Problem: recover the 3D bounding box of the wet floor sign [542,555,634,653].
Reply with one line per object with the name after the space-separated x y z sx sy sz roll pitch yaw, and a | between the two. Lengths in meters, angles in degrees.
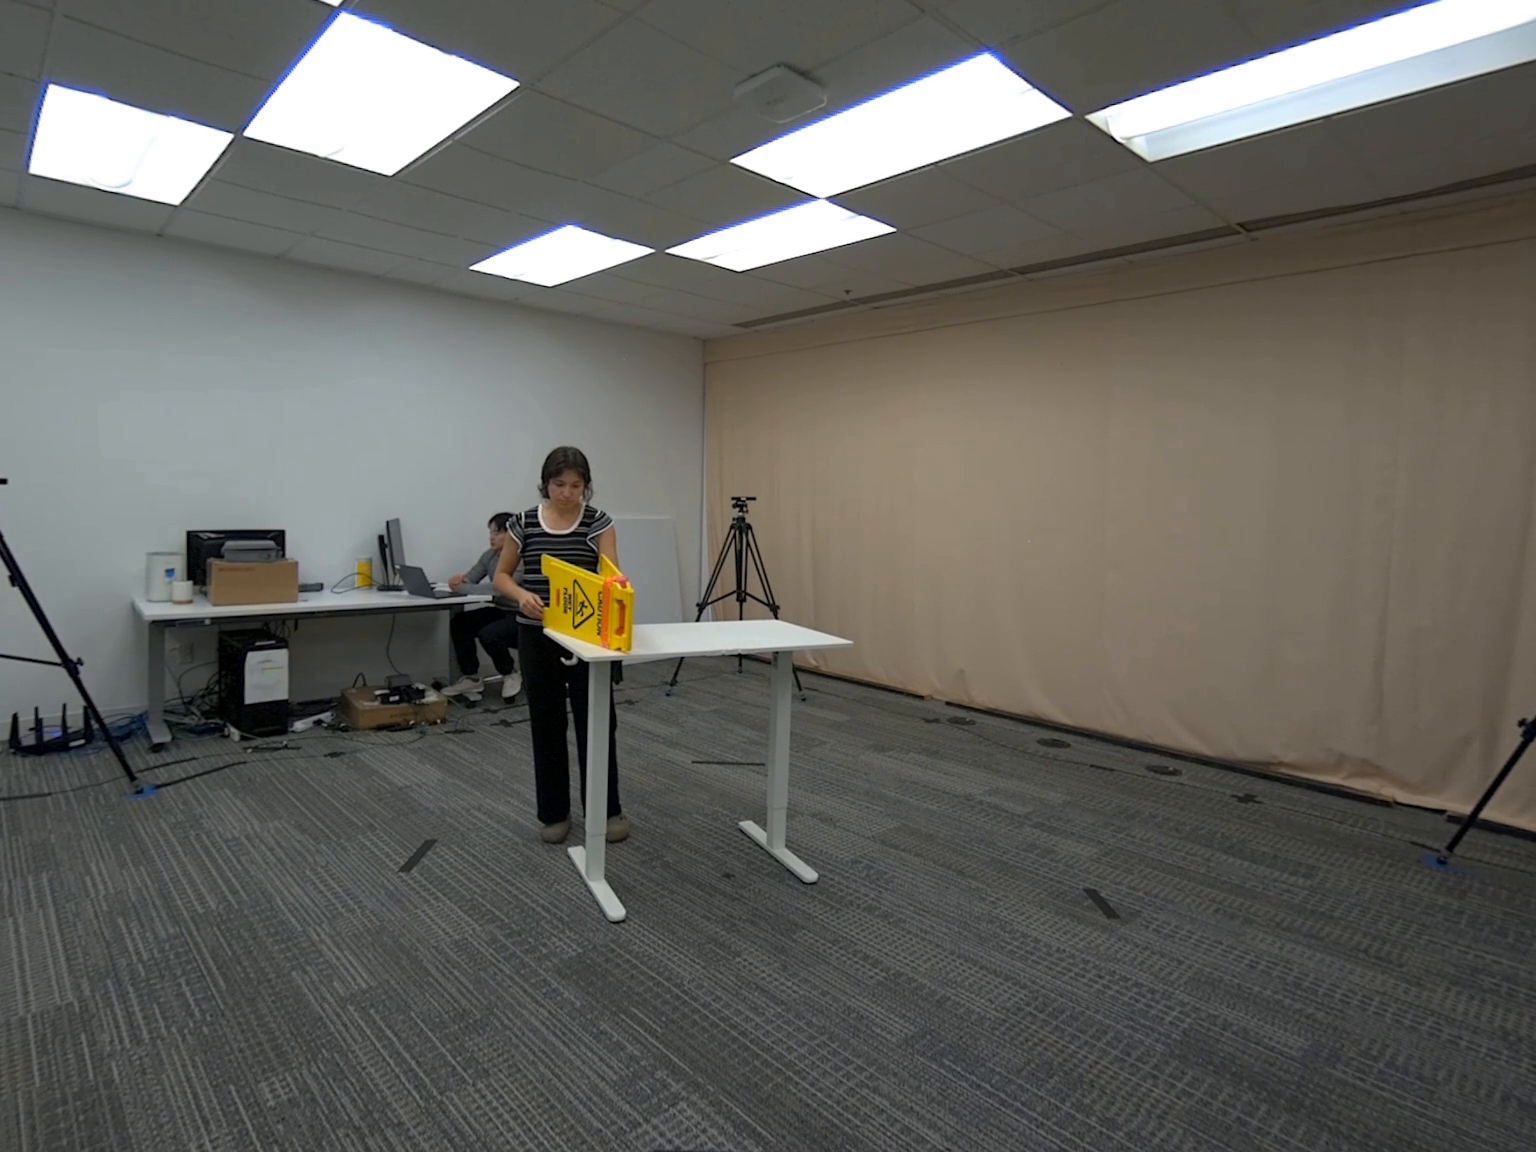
-0.600 0.103 2.952 0.284 0.281 0.662 -2 9 -29 | wet floor sign
